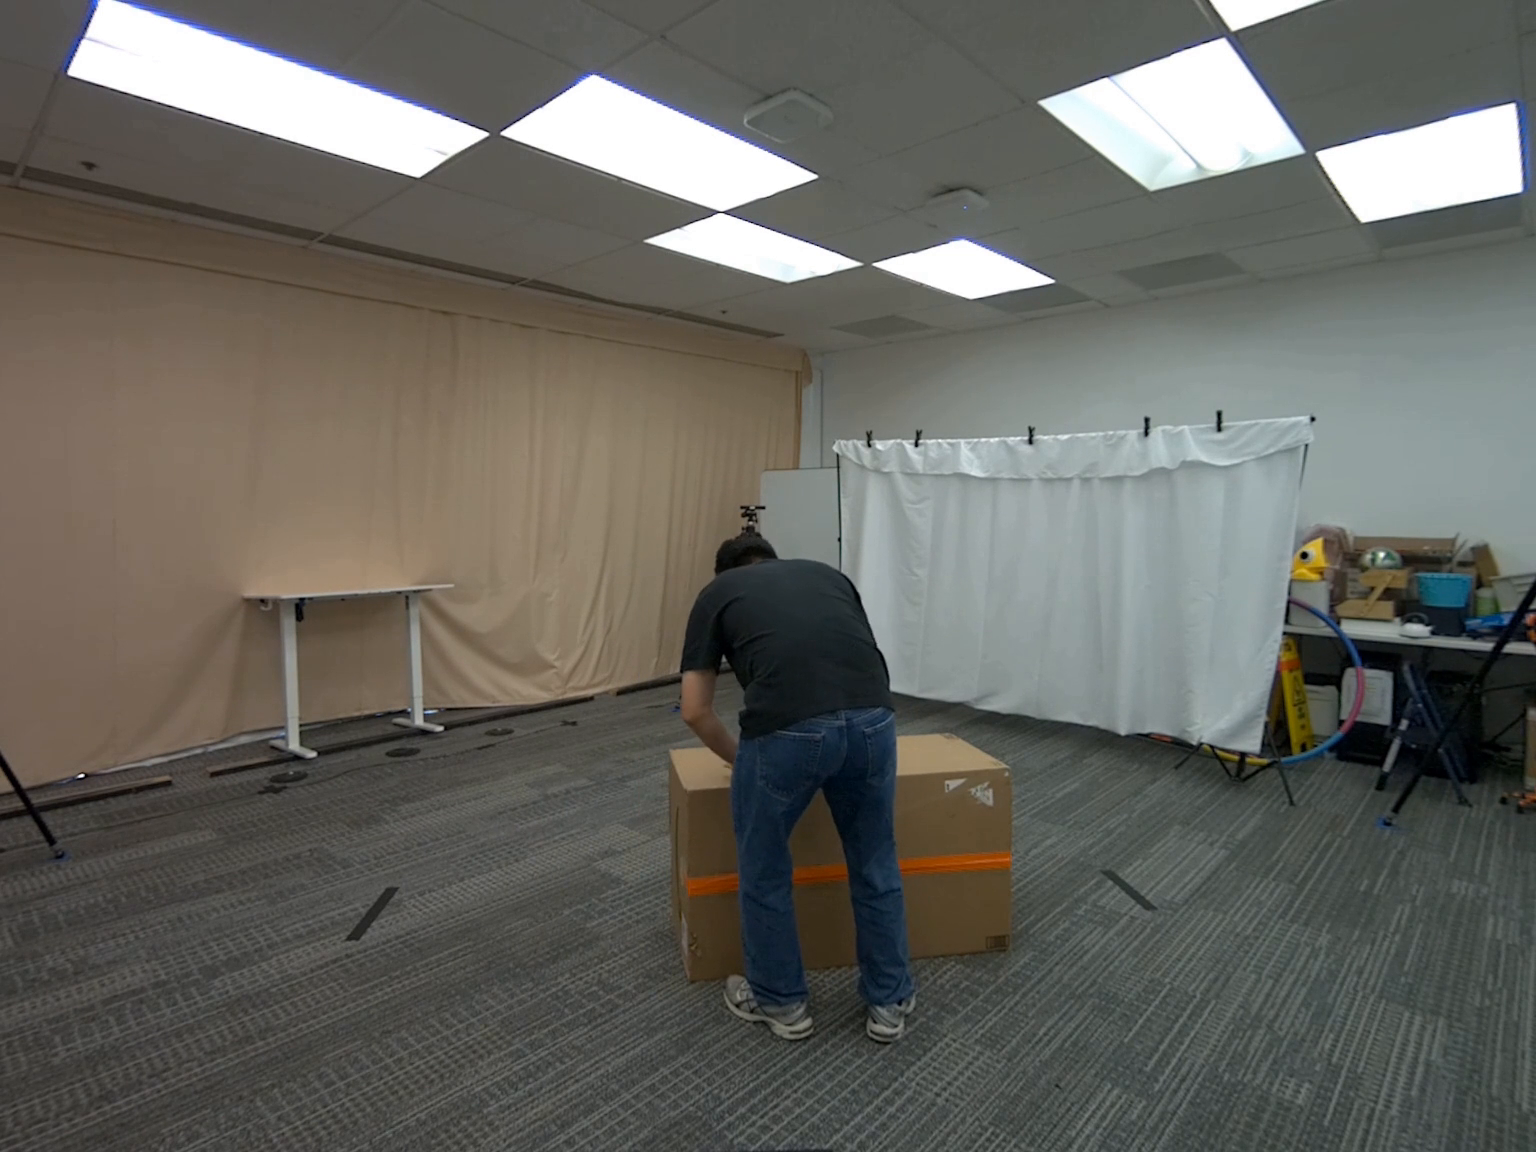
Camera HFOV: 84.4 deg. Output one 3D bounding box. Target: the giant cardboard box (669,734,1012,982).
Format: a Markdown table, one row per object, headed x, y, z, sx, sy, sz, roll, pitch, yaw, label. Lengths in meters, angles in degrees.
| x | y | z | sx | sy | sz | roll | pitch | yaw | label |
| --- | --- | --- | --- | --- | --- | --- | --- | --- | --- |
| 0.214 | 0.876 | 2.737 | 1.015 | 0.582 | 0.453 | -2 | 5 | -11 | giant cardboard box |
